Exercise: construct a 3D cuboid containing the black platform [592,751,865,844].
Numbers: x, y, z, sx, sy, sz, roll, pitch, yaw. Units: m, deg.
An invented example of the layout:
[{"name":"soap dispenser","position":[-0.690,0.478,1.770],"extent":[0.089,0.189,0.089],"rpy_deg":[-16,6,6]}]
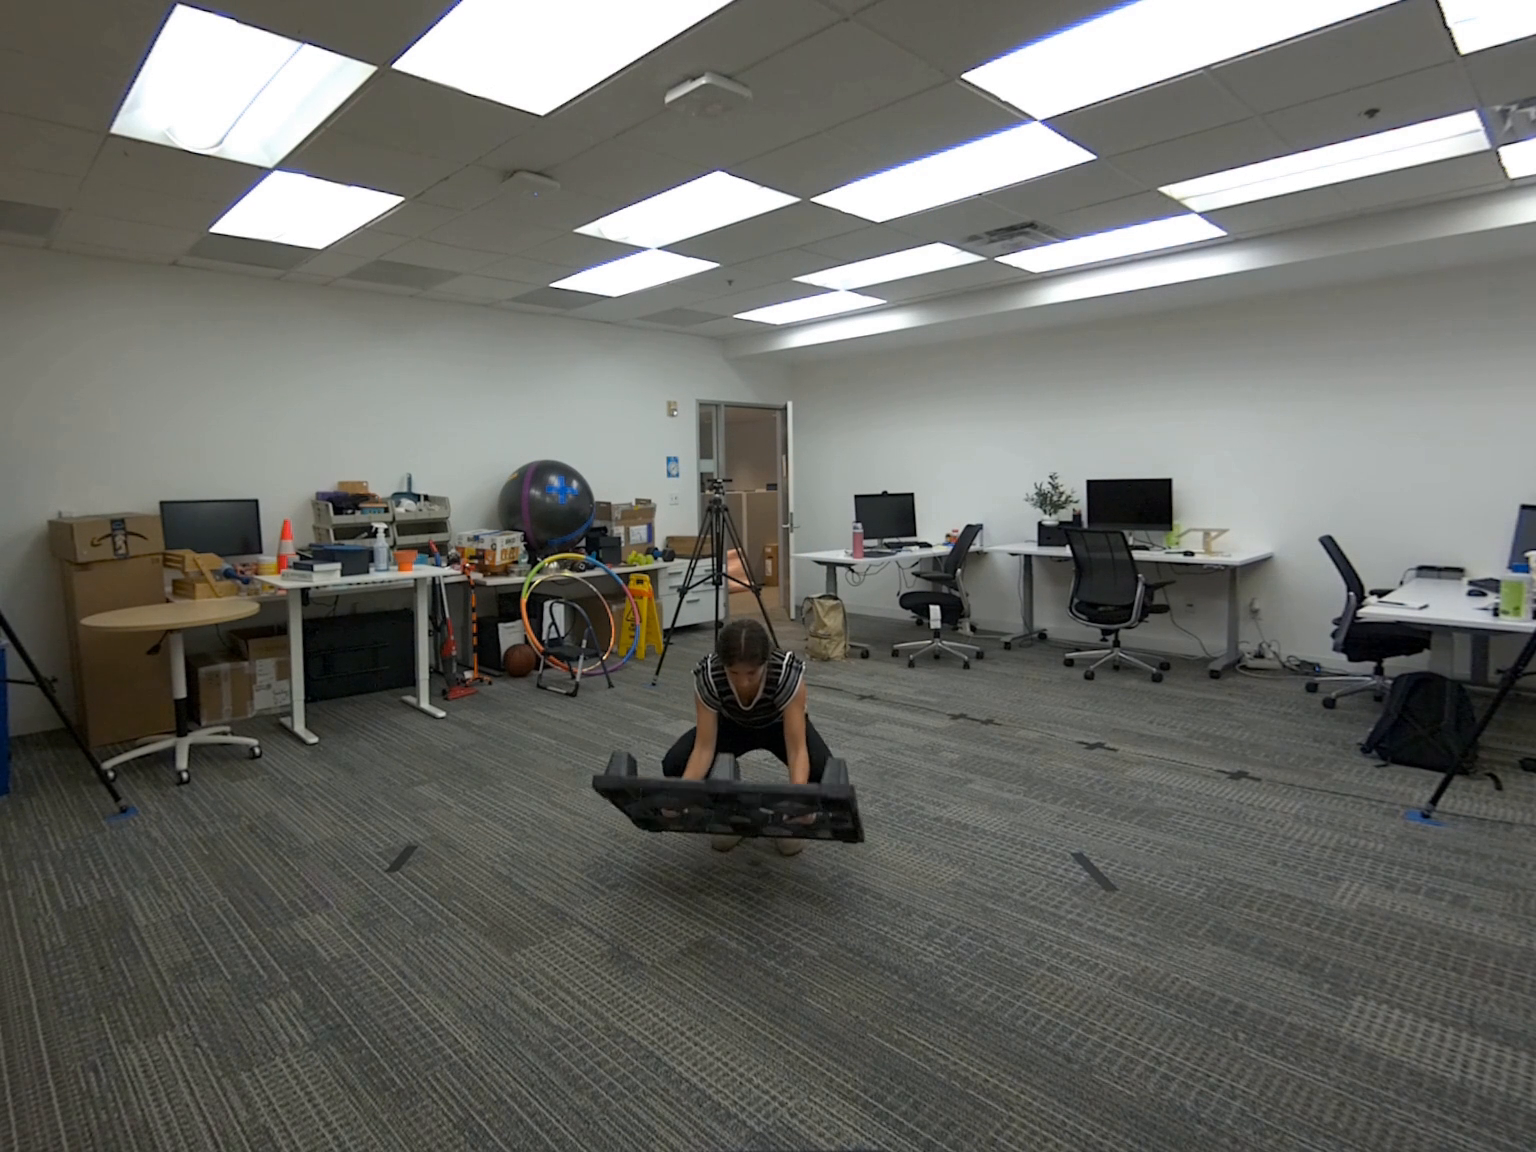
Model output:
[{"name":"black platform","position":[-0.104,0.725,2.804],"extent":[0.814,0.146,0.586],"rpy_deg":[-1,-31,11]}]
